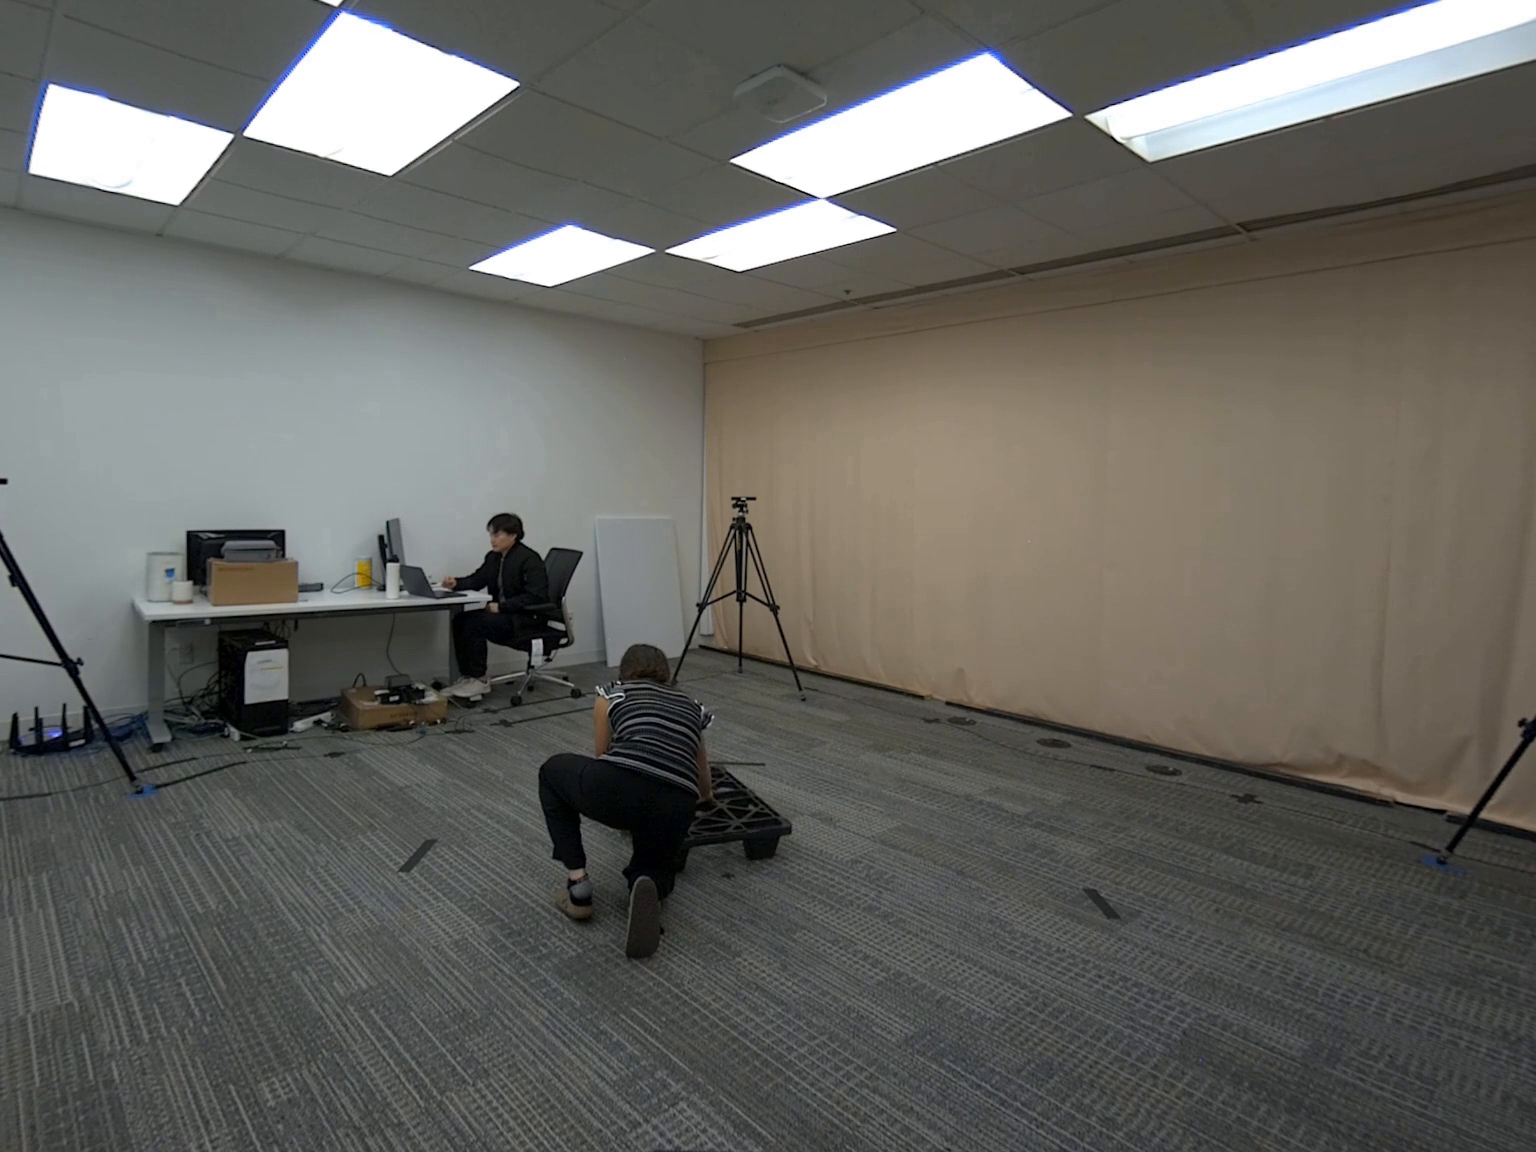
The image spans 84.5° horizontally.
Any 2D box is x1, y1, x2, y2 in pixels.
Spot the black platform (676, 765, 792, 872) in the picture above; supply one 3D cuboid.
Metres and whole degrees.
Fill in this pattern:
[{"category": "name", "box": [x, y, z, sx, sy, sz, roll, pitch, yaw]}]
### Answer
[{"category": "black platform", "box": [-0.342, 0.997, 3.521, 0.595, 0.143, 0.821, 0, 5, -23]}]
